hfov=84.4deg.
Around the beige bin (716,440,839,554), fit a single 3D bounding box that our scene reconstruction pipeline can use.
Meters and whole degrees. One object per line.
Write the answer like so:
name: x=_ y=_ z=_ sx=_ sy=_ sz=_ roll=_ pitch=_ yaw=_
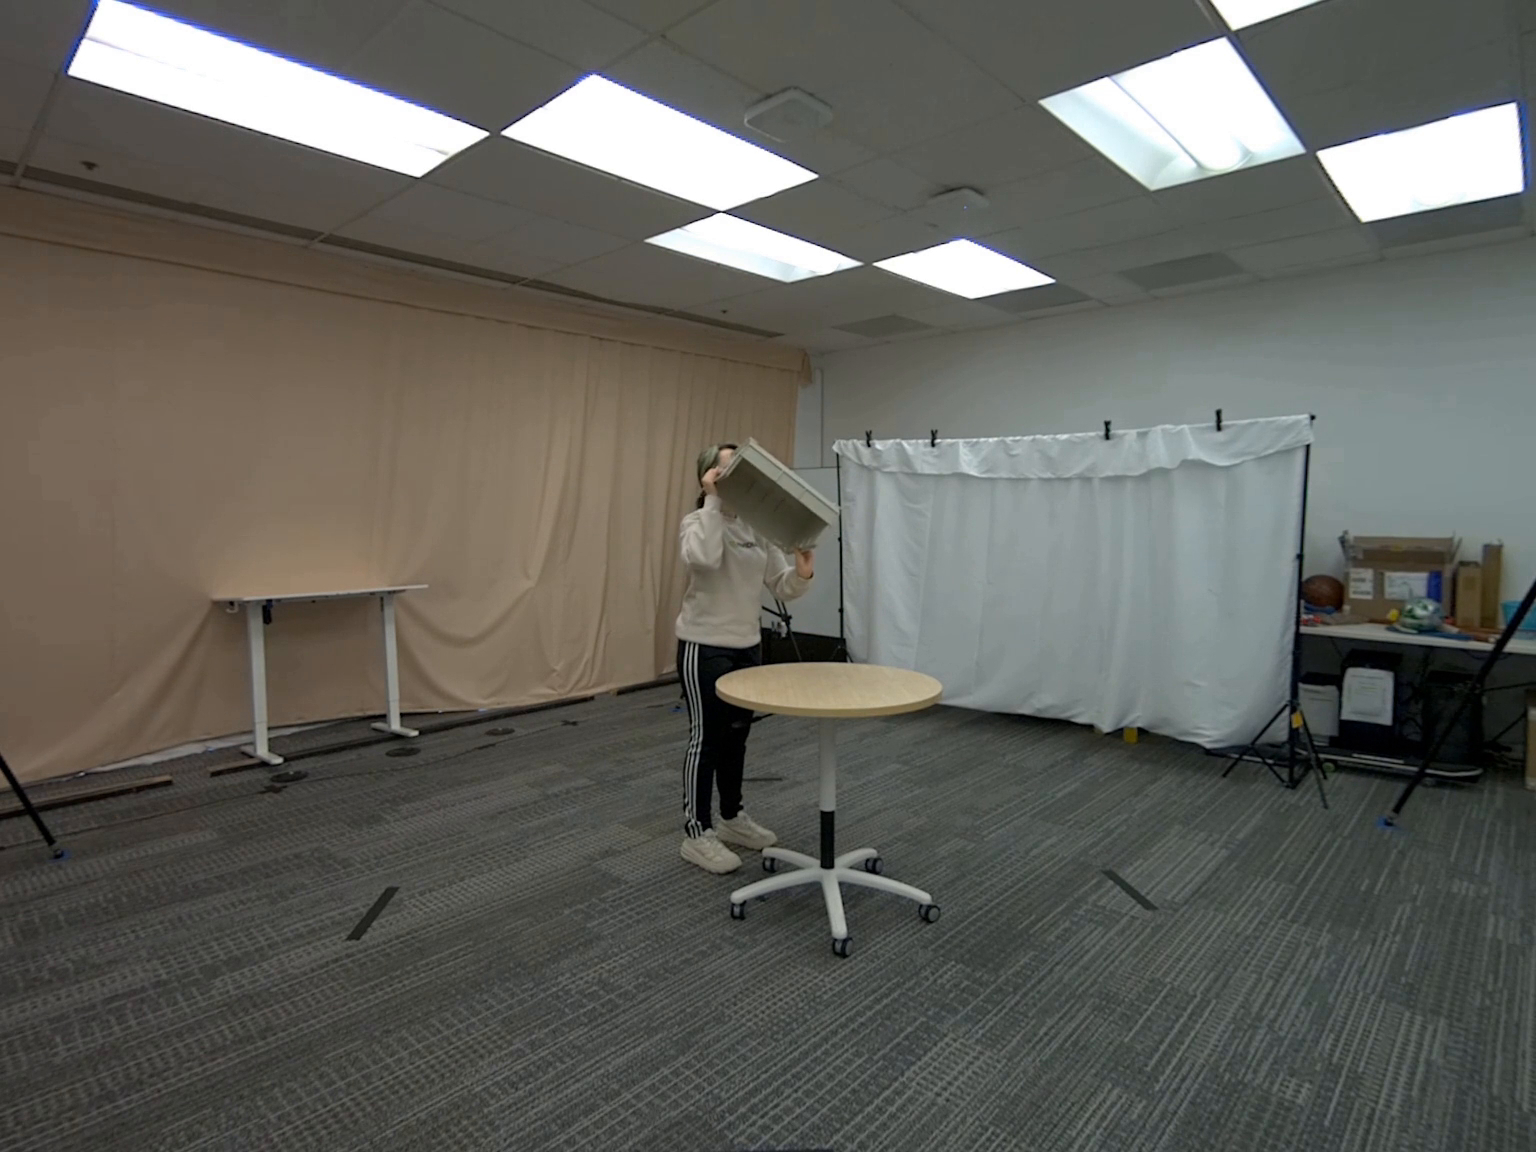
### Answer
beige bin: x=0.017 y=-0.284 z=3.094 sx=0.419 sy=0.189 sz=0.381 roll=38 pitch=-11 yaw=-8
